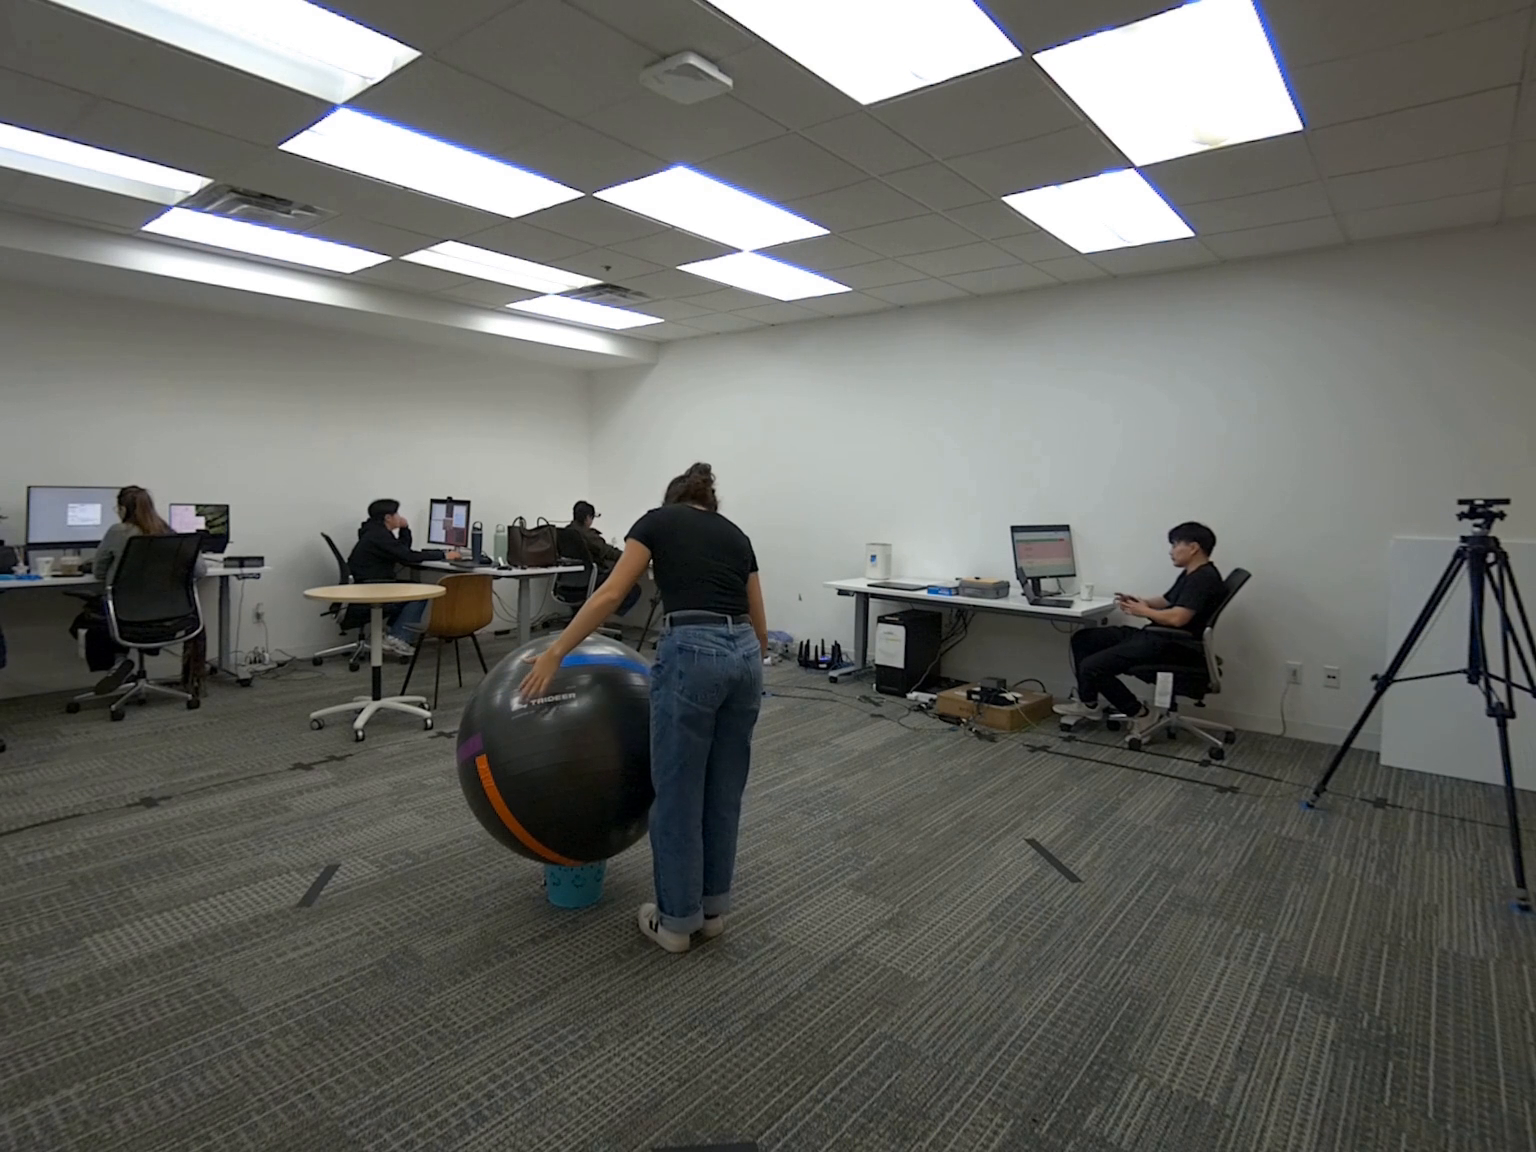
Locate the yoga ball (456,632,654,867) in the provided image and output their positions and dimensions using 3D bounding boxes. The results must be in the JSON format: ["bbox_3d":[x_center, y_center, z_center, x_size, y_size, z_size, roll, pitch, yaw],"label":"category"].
[{"bbox_3d":[-0.685,0.574,2.873,0.757,0.755,0.762,1,4,-2],"label":"yoga ball"}]
